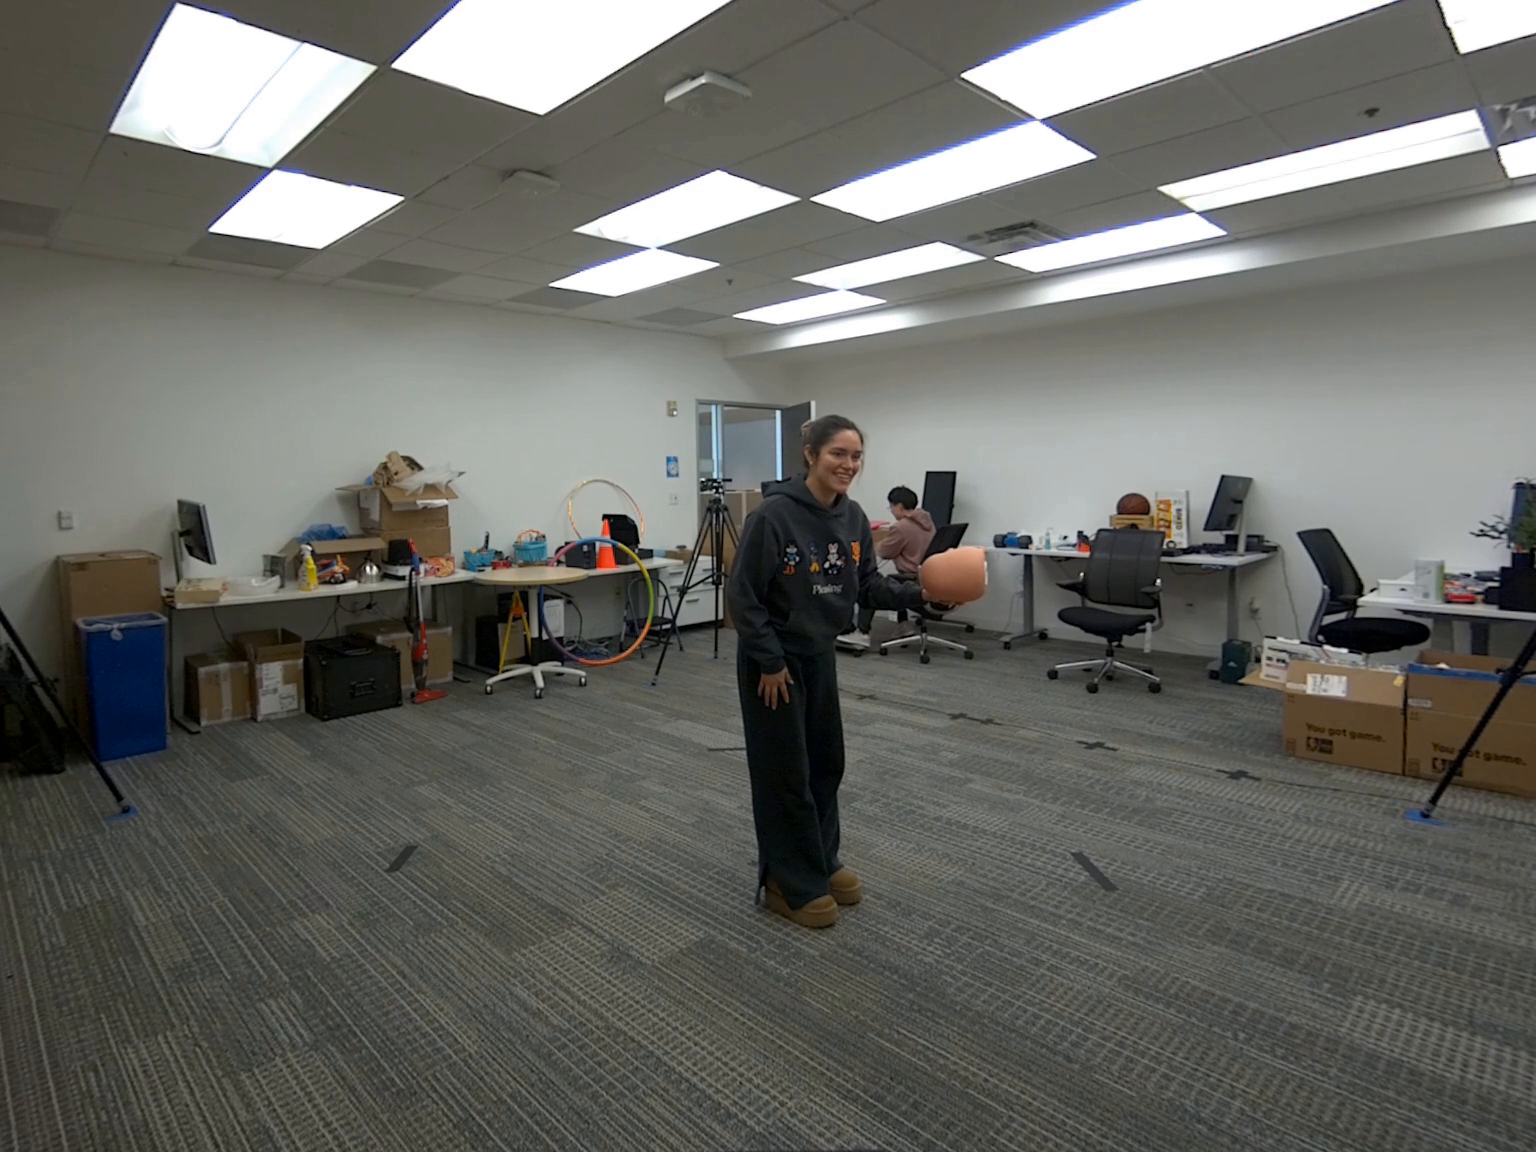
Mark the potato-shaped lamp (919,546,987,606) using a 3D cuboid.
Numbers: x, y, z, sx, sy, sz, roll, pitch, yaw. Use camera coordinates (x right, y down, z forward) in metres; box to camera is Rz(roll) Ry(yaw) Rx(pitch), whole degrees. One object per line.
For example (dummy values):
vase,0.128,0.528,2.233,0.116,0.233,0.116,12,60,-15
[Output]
potato-shaped lamp,0.568,-0.005,2.622,0.201,0.159,0.174,0,40,17
